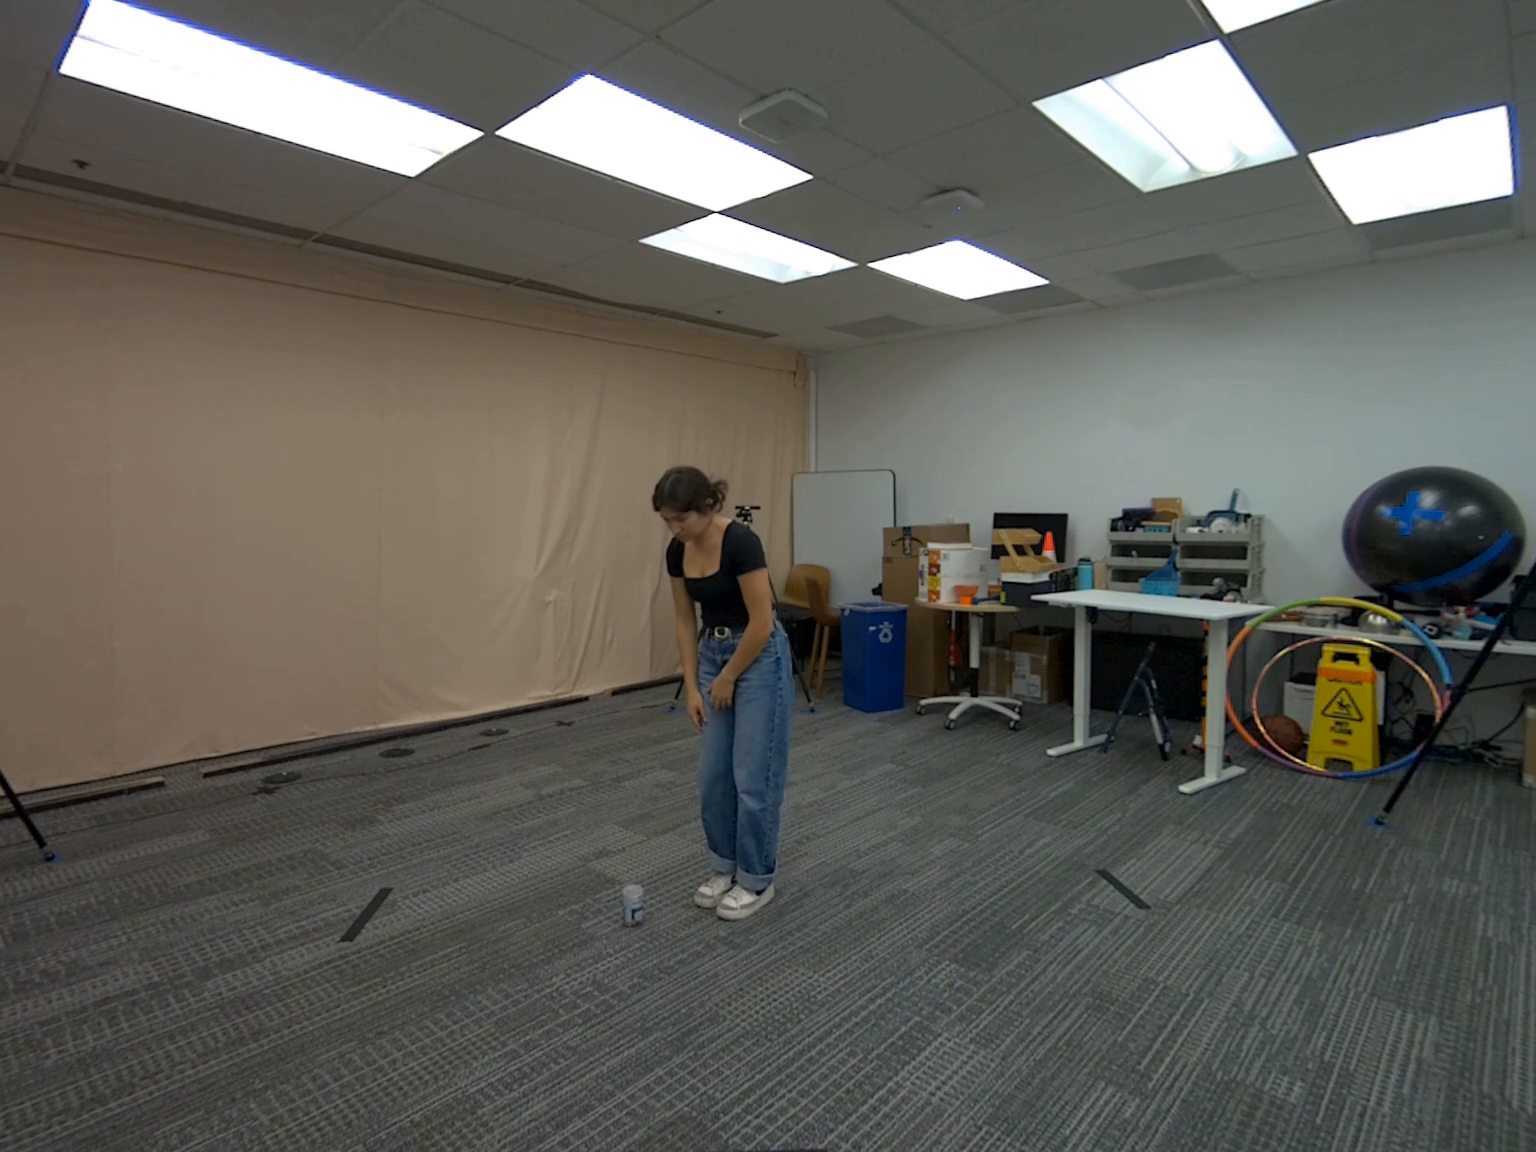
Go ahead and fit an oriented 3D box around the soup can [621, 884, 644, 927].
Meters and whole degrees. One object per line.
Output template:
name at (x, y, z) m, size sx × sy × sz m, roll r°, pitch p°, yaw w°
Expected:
soup can at (-0.448, 1.107, 2.811) m, size 0.067 × 0.121 × 0.067 m, roll -4°, pitch -1°, yaw -2°
